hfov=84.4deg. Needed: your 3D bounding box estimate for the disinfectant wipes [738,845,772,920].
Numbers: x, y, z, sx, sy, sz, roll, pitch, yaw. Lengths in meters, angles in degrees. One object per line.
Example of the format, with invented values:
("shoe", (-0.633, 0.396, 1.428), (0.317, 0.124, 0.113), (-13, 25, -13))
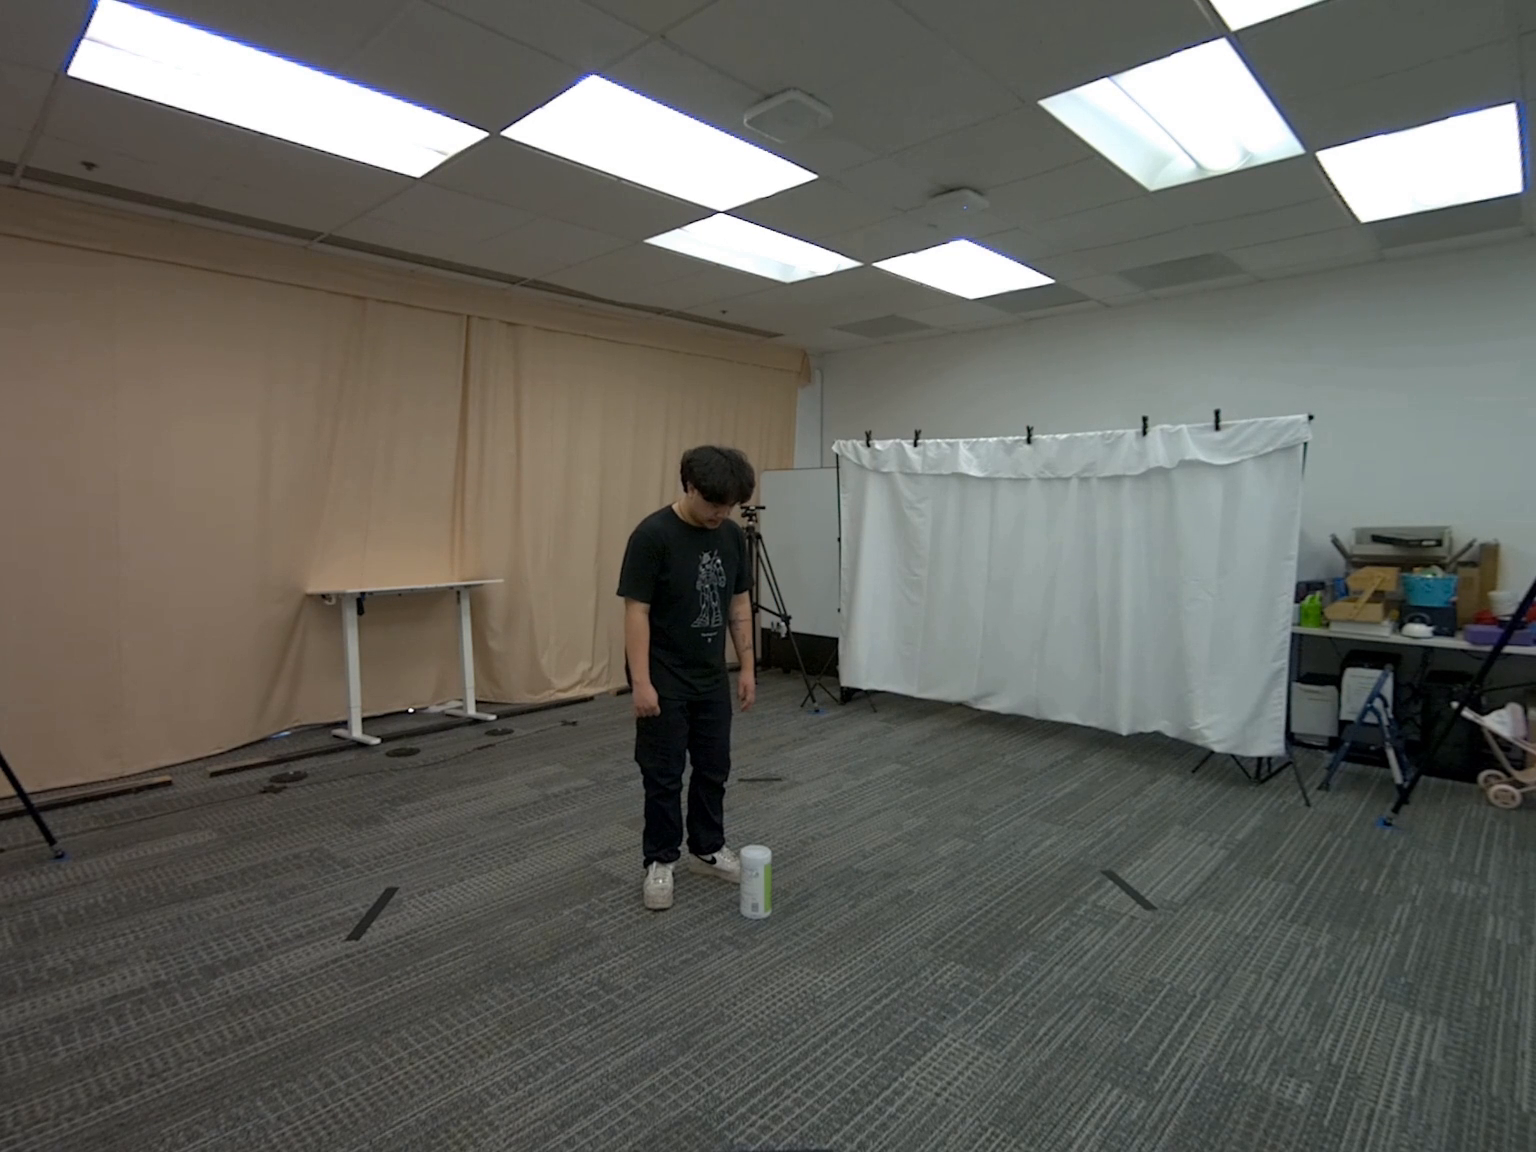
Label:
("disinfectant wipes", (-0.037, 1.048, 2.876), (0.118, 0.217, 0.118), (0, 3, -2))
